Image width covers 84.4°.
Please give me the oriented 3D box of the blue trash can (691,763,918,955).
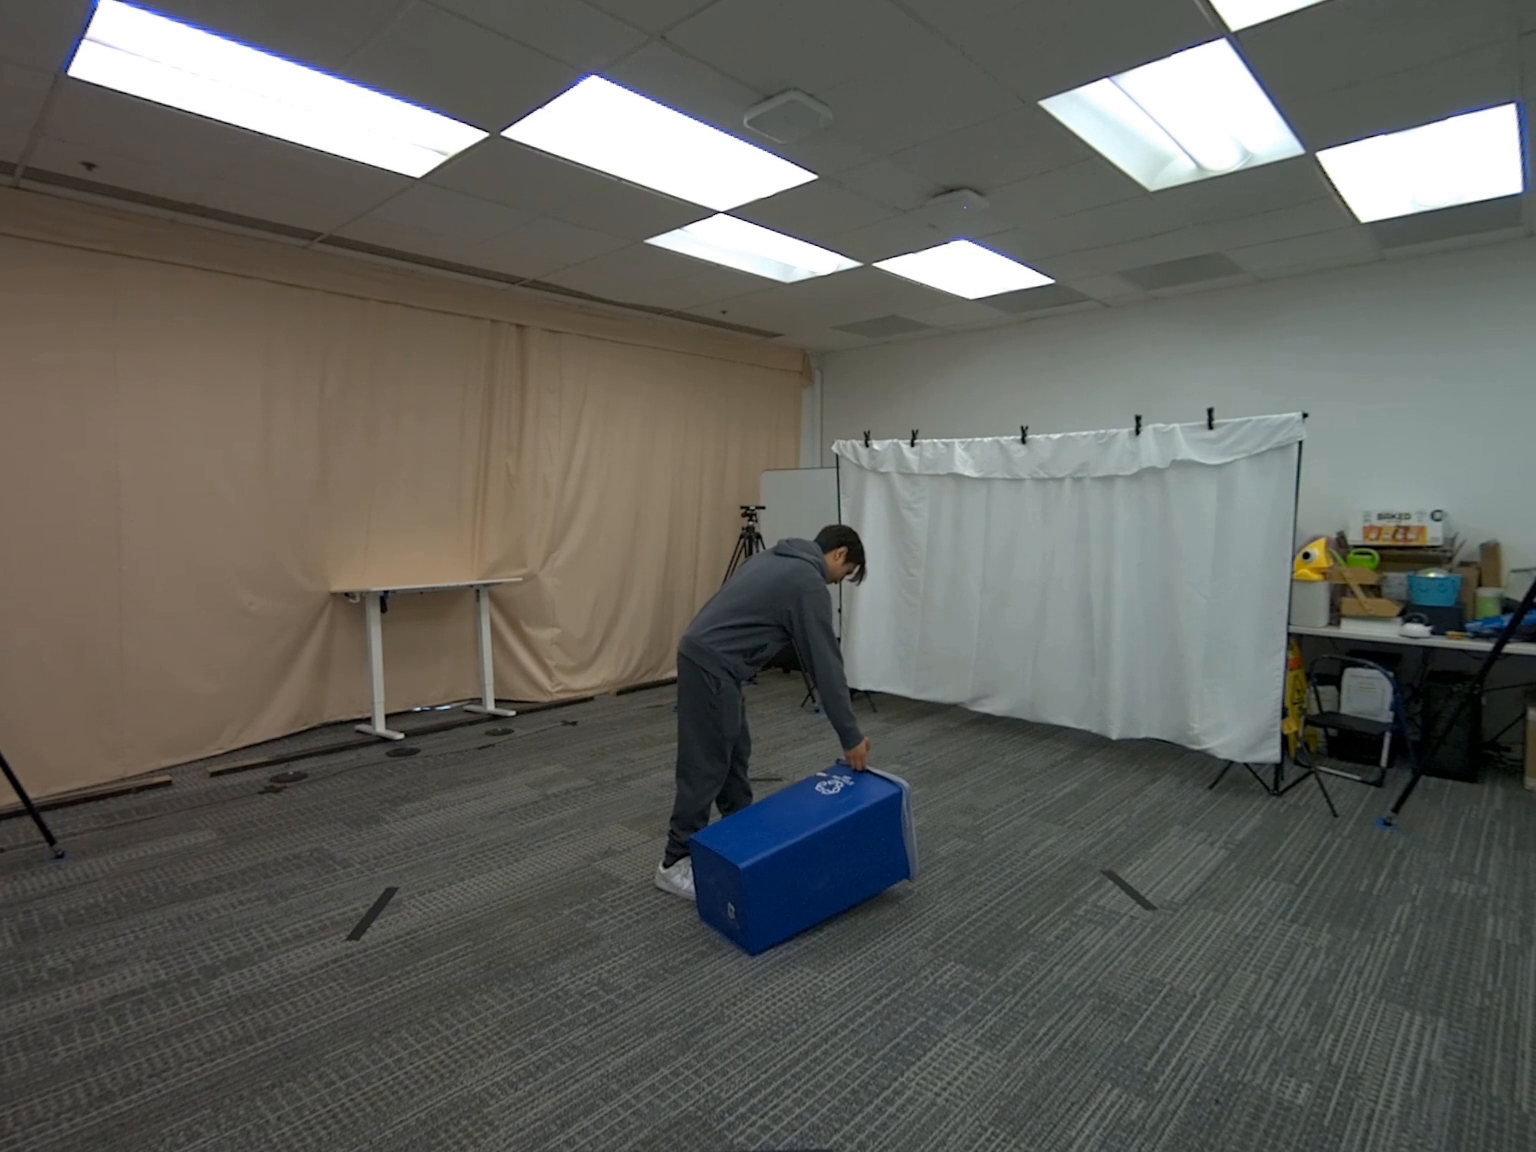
[{"bbox_3d":[0.132,0.947,2.881,0.696,0.375,0.386,-14,12,-35],"label":"blue trash can"}]
